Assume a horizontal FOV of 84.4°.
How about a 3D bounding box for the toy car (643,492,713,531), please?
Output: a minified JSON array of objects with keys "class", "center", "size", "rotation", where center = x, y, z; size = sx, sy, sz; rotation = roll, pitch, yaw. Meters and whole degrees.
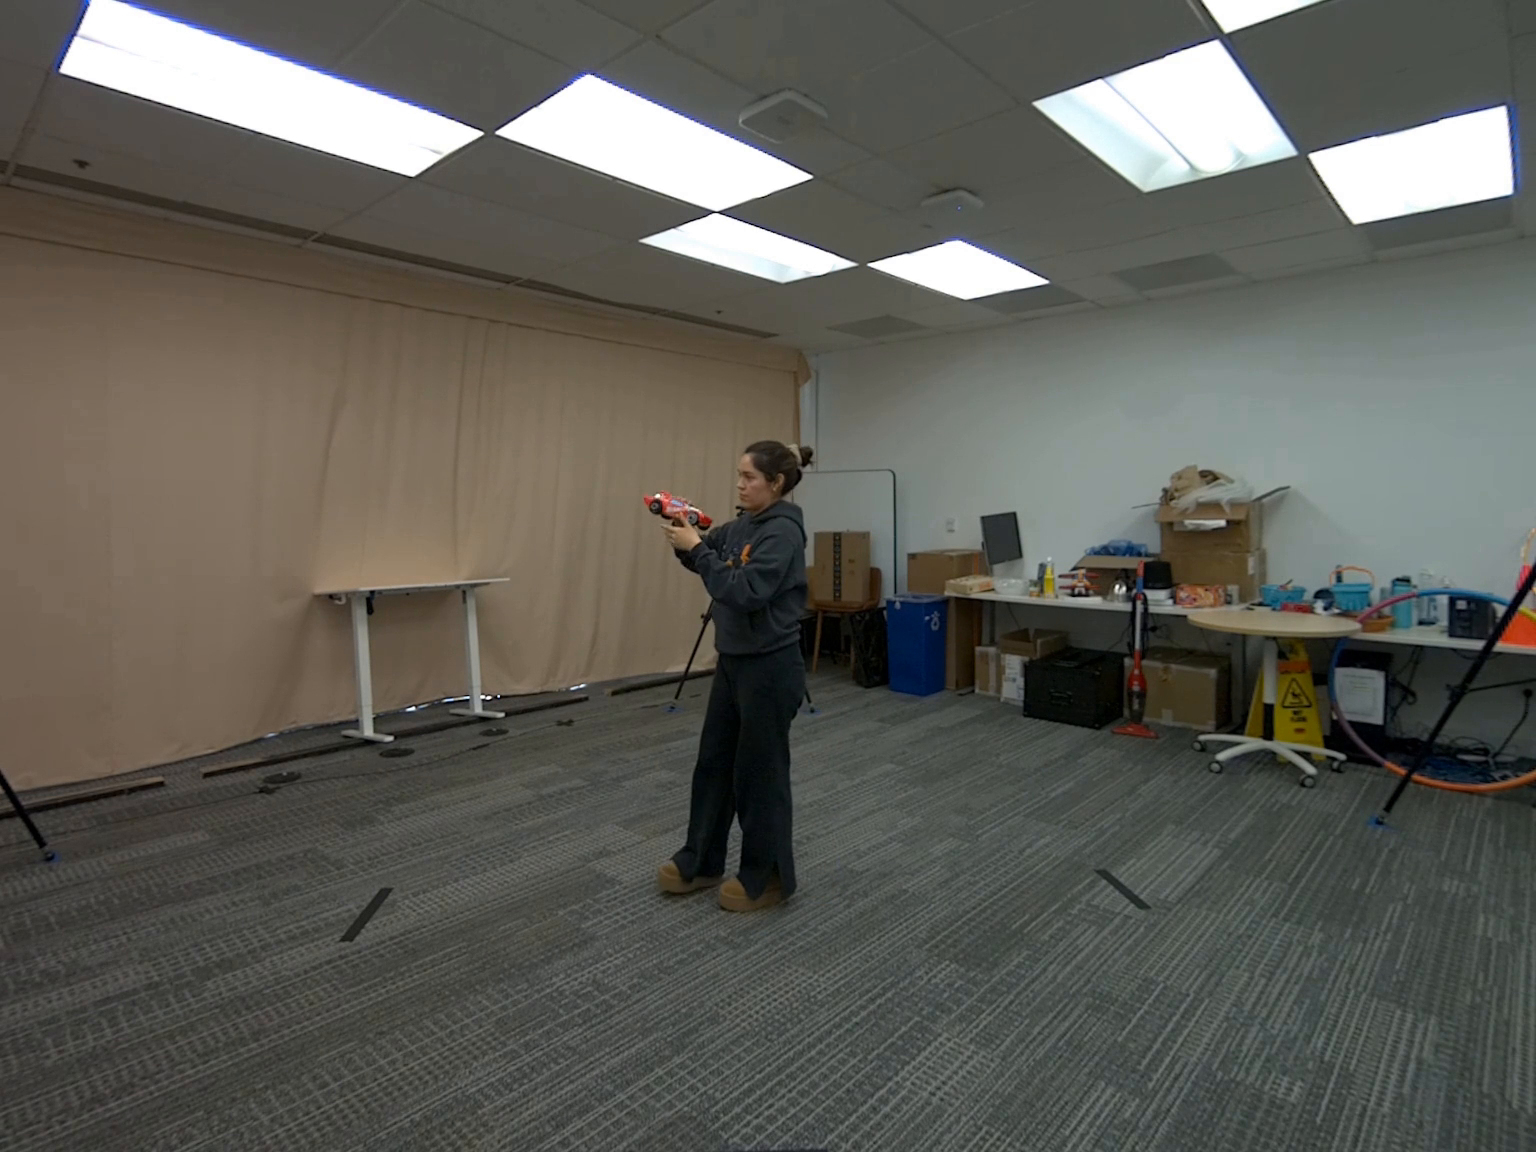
[{"class":"toy car","center":[-0.308,-0.213,2.873],"size":[0.262,0.083,0.126],"rotation":[29,3,25]}]
